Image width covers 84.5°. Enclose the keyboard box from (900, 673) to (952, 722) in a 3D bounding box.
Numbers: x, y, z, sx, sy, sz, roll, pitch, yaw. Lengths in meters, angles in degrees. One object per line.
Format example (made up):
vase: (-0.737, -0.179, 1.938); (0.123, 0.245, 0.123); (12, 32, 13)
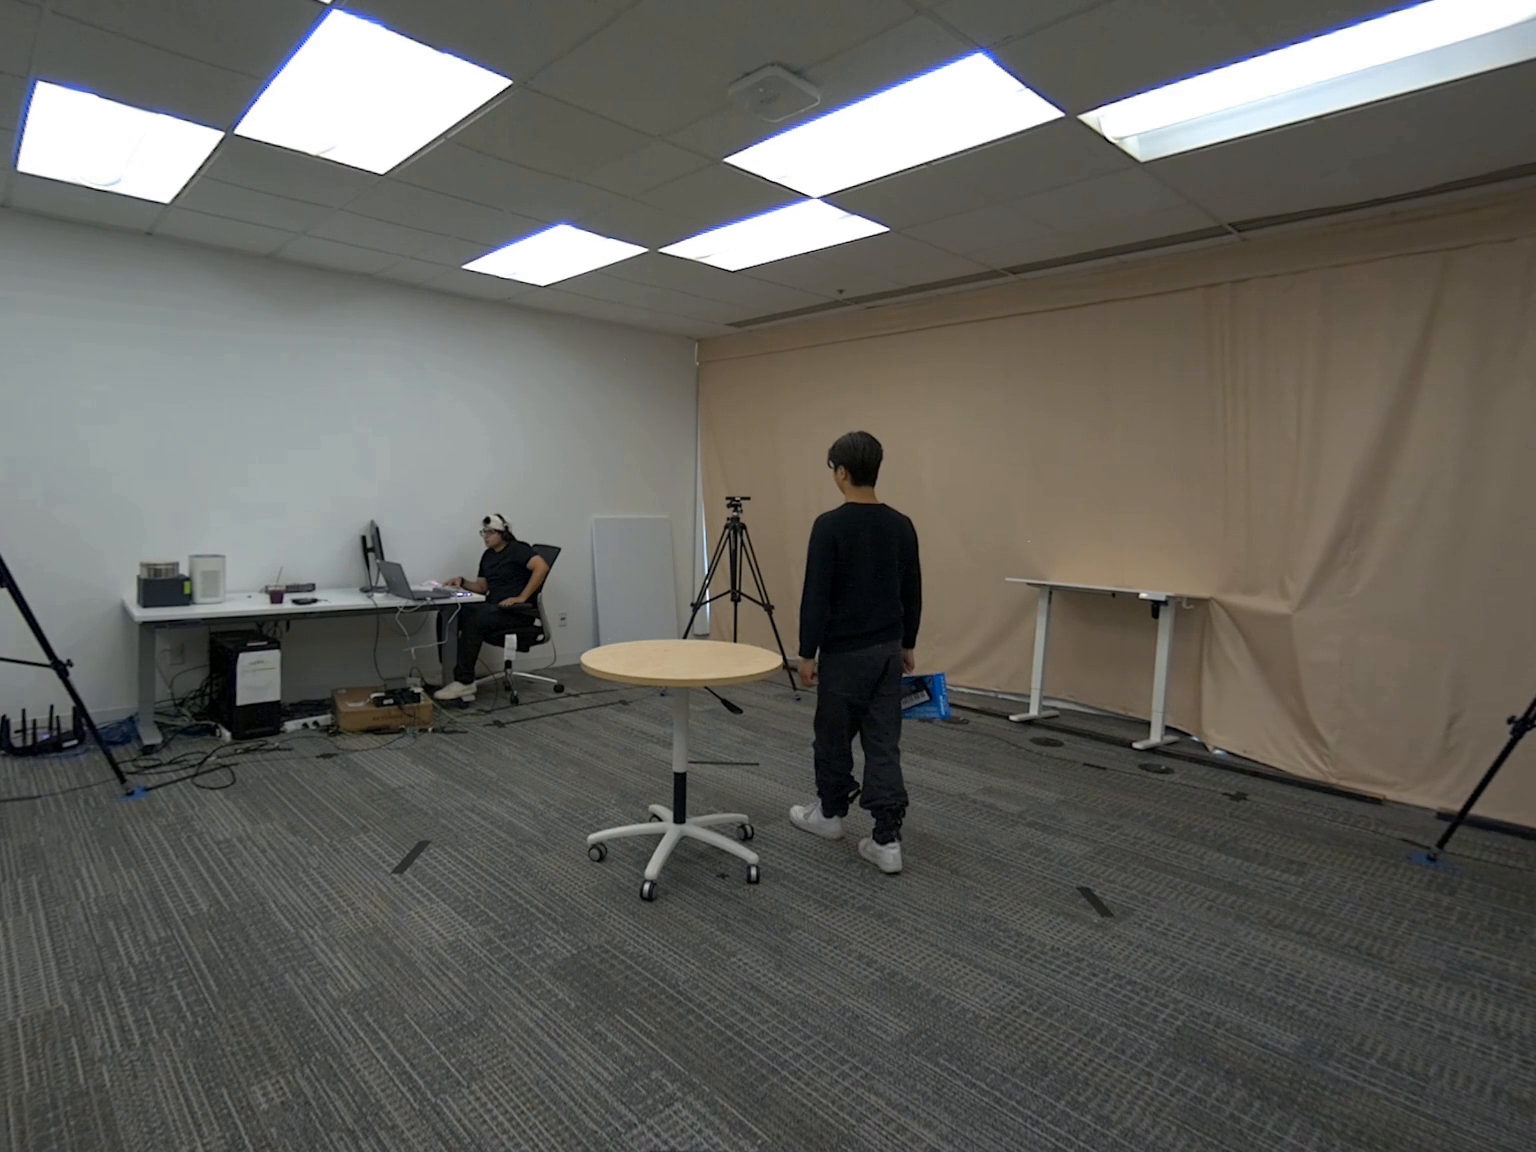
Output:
keyboard box: (0.558, 0.495, 3.506); (0.058, 0.177, 0.442); (0, -9, -31)
